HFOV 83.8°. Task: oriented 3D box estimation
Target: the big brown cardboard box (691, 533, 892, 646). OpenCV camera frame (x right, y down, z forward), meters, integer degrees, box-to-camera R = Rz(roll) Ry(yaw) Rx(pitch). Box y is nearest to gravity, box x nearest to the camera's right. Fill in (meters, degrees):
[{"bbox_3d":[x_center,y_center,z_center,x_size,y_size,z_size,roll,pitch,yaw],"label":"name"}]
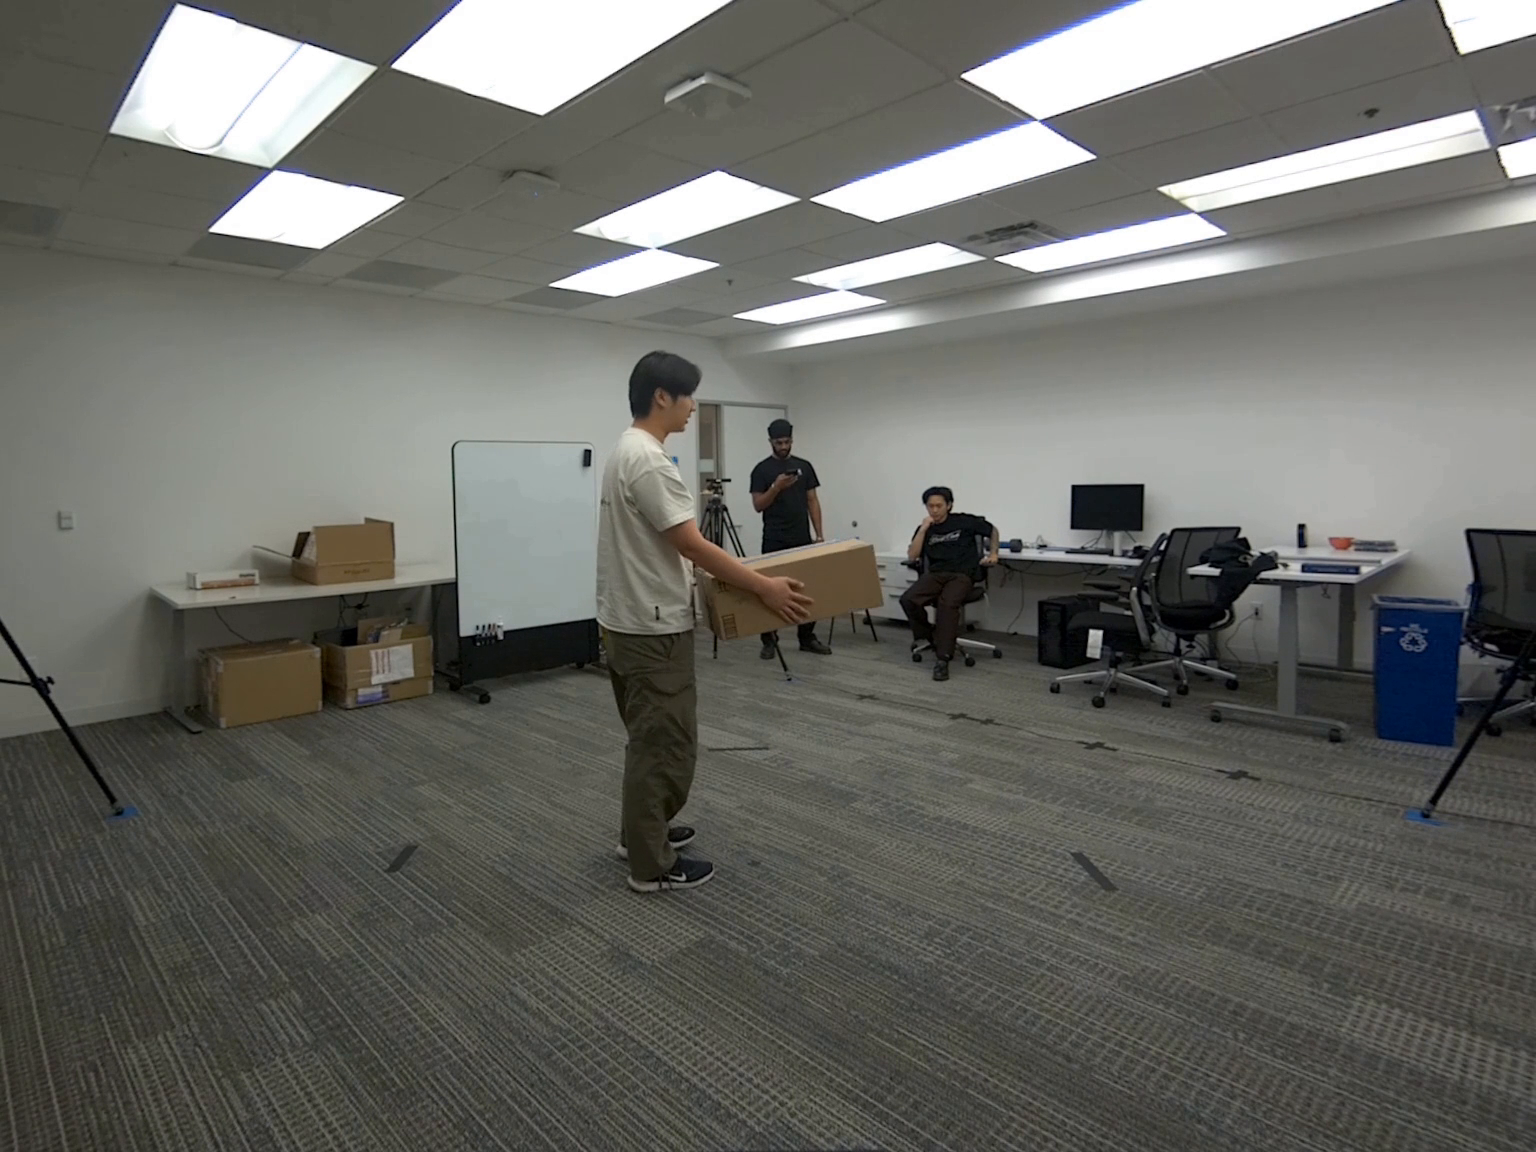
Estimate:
[{"bbox_3d":[0.060,0.030,3.040,0.584,0.232,0.424,-13,7,-12],"label":"big brown cardboard box"}]
